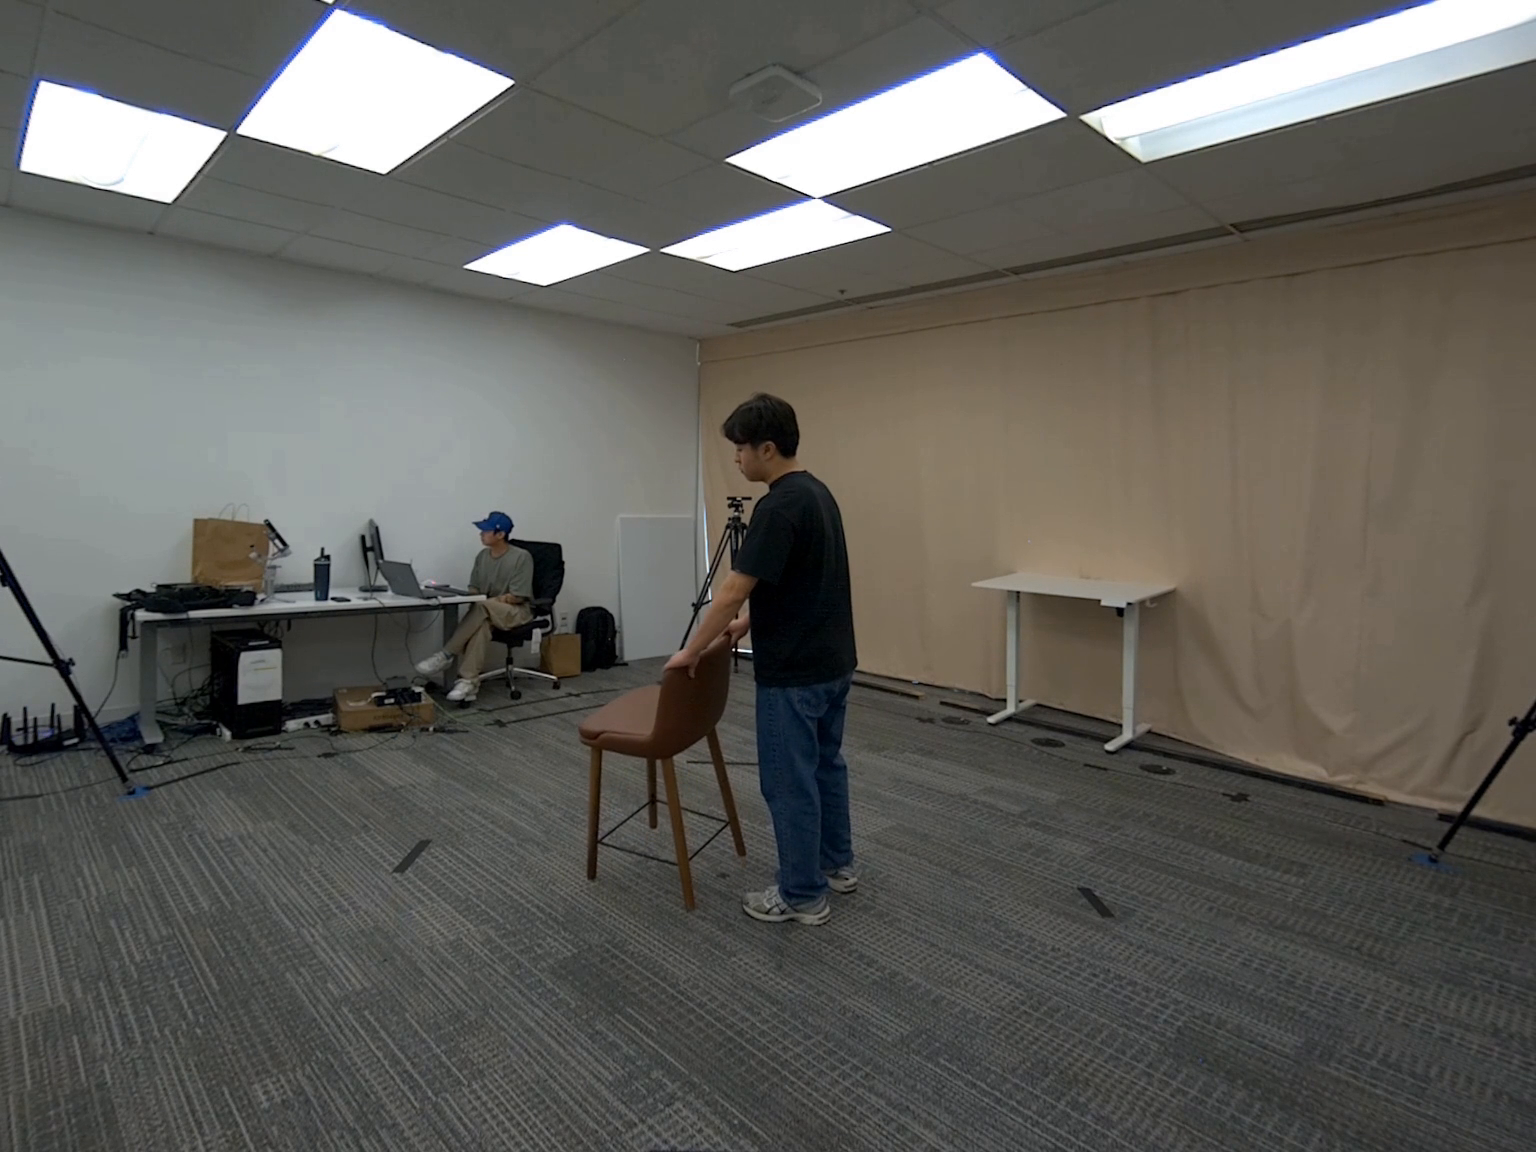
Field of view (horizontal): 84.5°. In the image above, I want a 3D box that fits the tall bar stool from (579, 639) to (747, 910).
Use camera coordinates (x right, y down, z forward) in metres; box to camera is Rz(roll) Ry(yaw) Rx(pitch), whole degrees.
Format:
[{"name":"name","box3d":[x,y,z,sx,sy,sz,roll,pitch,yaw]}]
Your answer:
[{"name":"tall bar stool","box3d":[-0.381,0.646,3.007,0.478,0.881,0.450,7,15,31]}]
